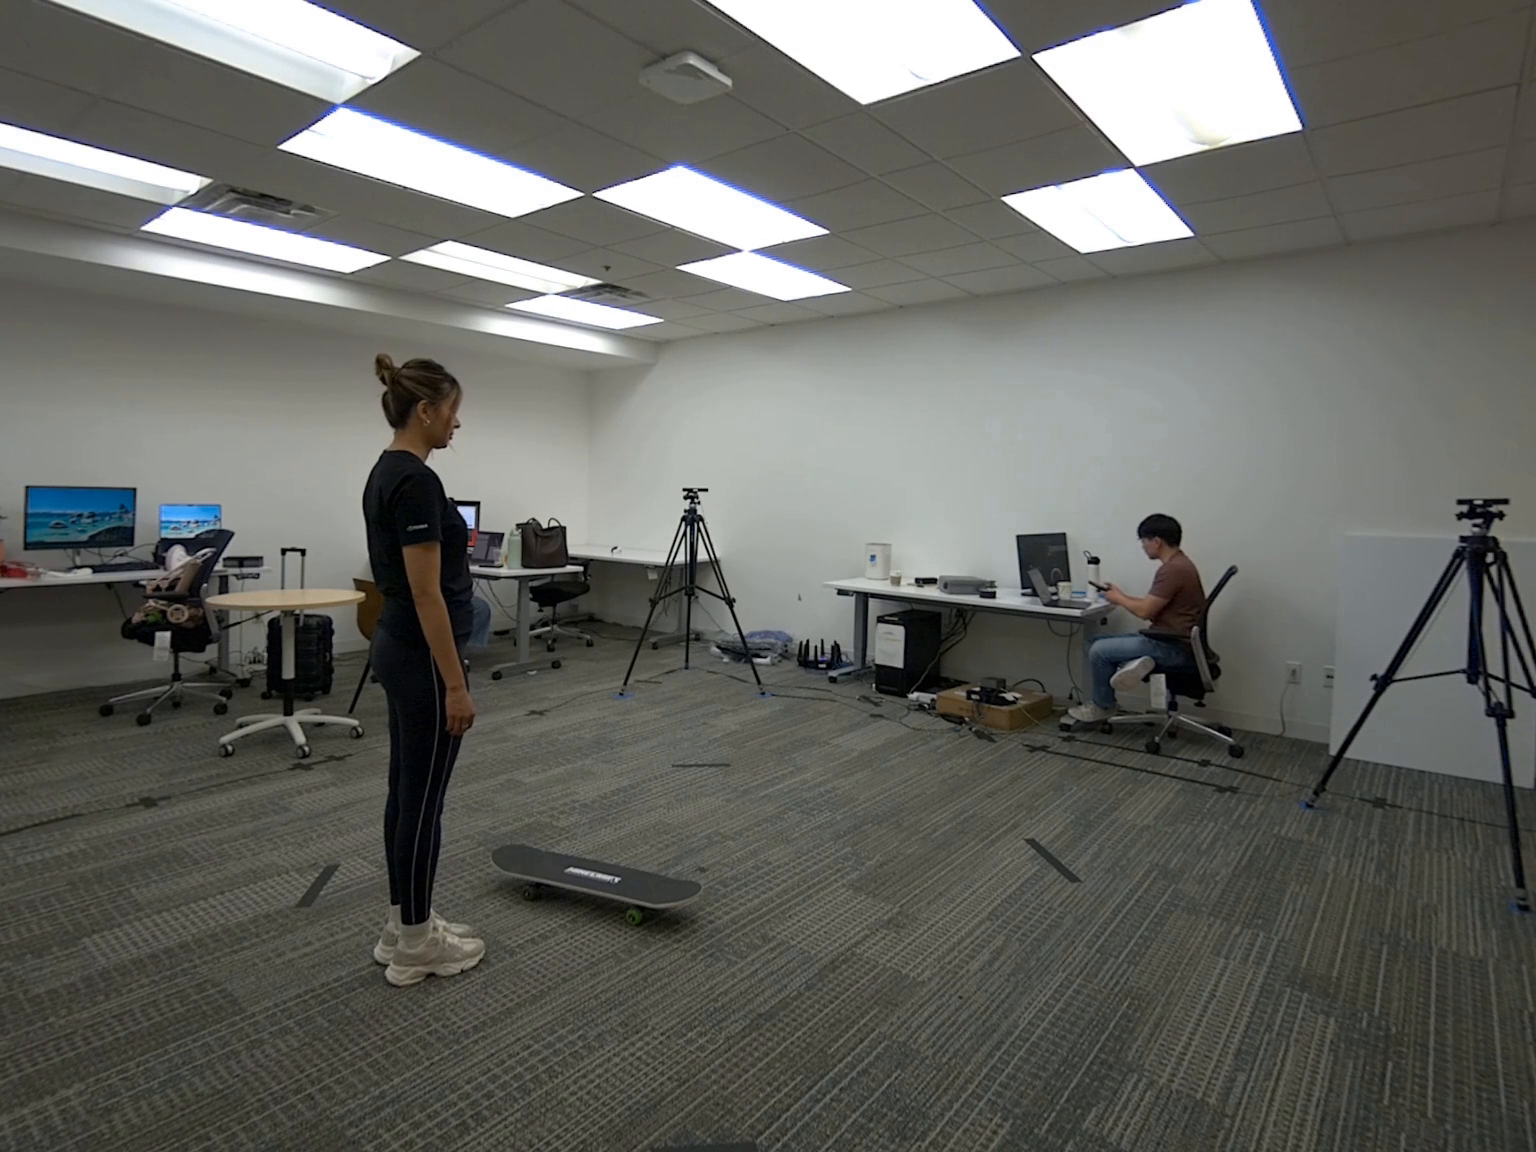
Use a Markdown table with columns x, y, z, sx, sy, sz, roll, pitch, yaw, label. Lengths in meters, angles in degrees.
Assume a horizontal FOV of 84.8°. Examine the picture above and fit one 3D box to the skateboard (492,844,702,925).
| x | y | z | sx | sy | sz | roll | pitch | yaw | label |
| --- | --- | --- | --- | --- | --- | --- | --- | --- | --- |
| -0.599 | 1.030 | 2.847 | 0.804 | 0.110 | 0.190 | 3 | 6 | 22 | skateboard |
